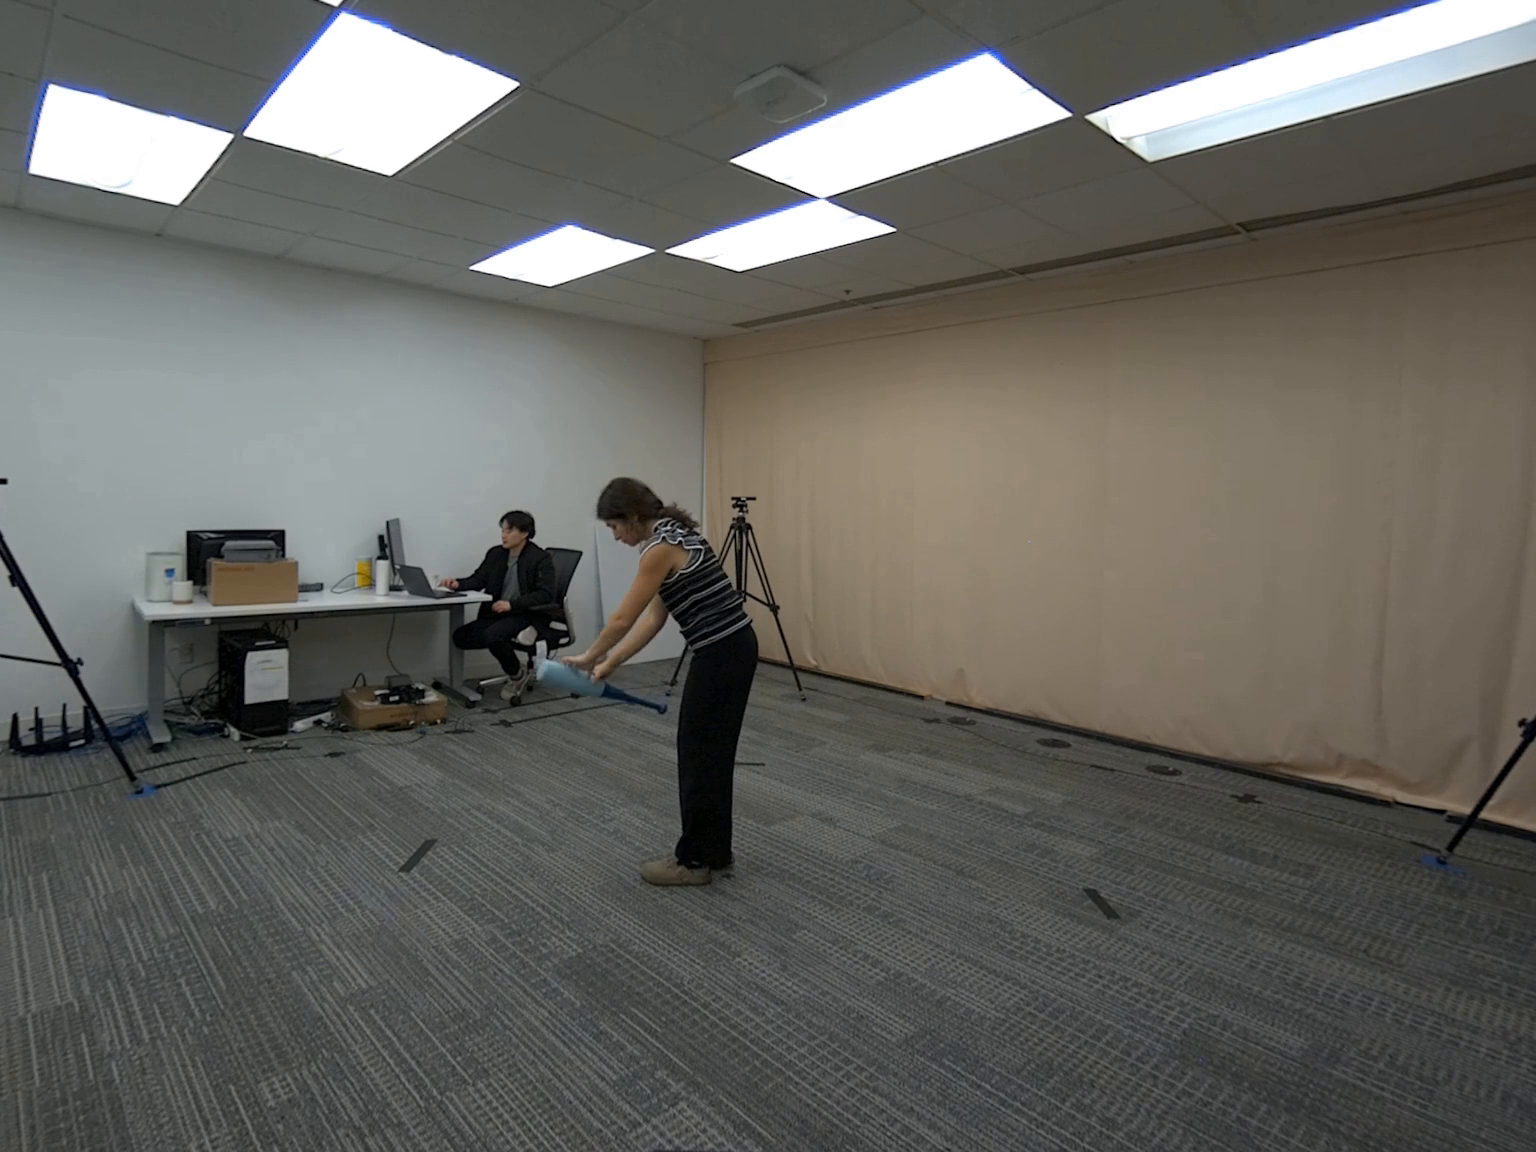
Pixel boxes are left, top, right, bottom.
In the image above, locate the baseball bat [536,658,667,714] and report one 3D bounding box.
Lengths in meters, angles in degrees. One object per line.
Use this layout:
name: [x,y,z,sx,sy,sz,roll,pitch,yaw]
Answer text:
baseball bat: [-0.617,0.434,3.187,0.529,0.089,0.091,23,-7,-28]
